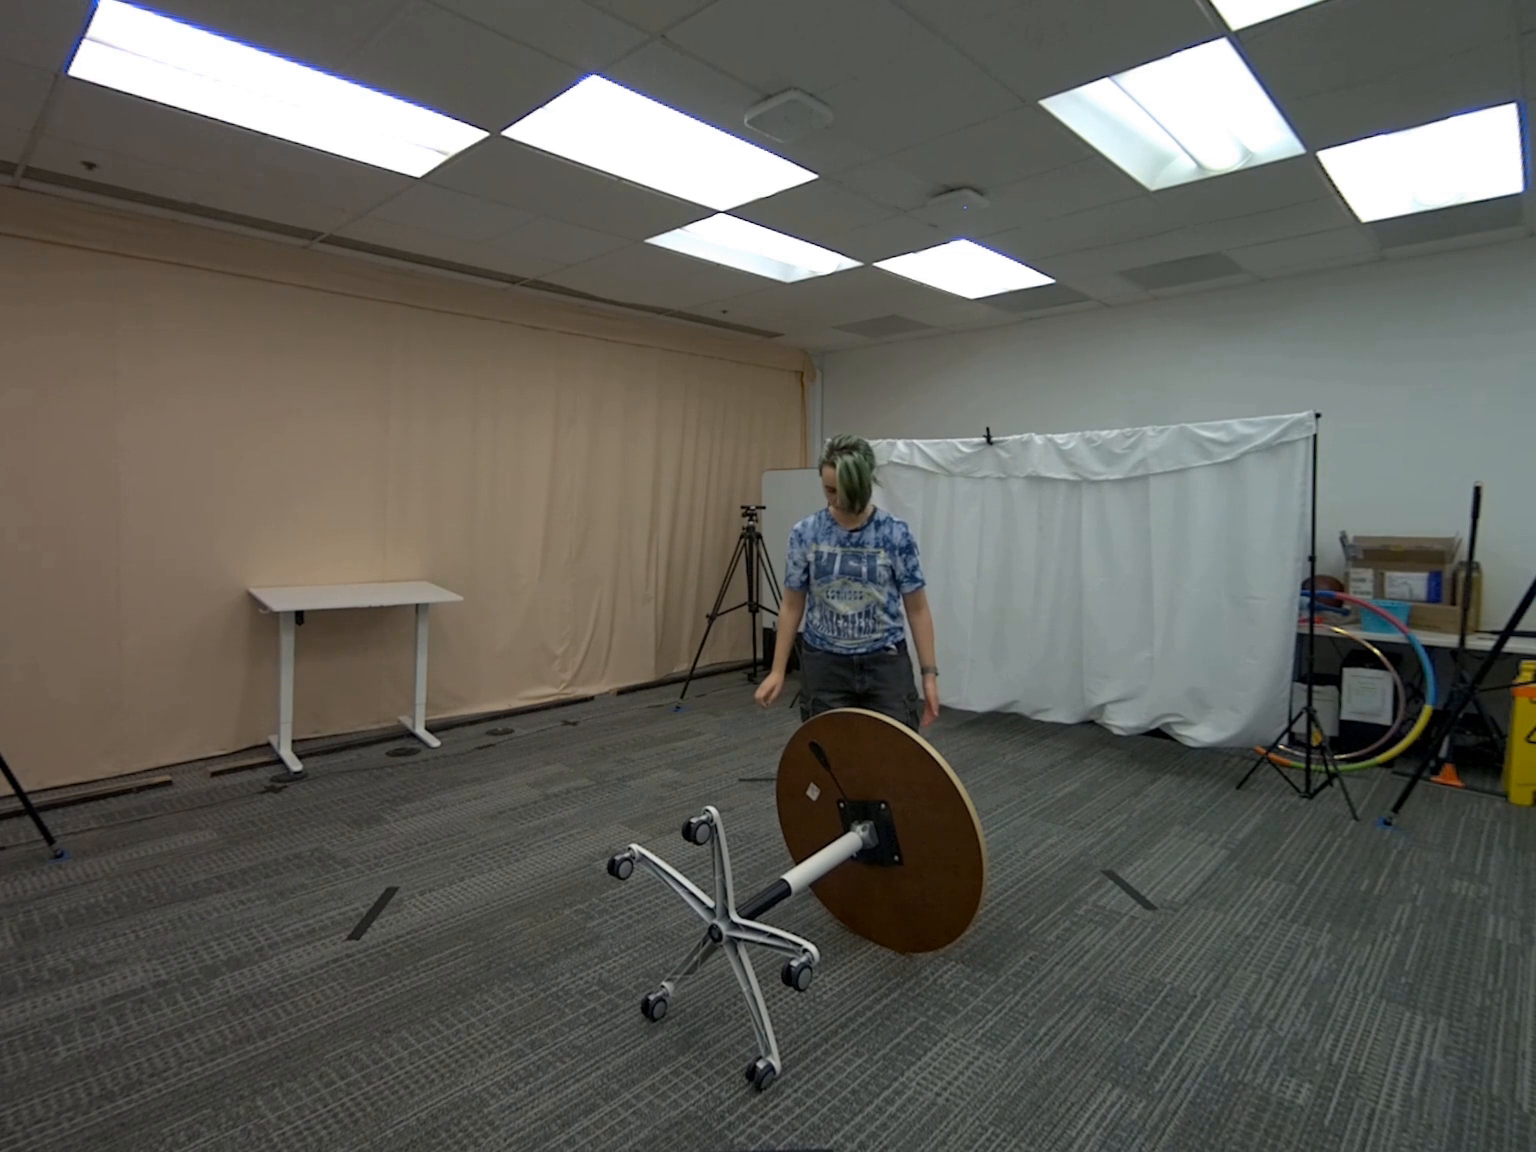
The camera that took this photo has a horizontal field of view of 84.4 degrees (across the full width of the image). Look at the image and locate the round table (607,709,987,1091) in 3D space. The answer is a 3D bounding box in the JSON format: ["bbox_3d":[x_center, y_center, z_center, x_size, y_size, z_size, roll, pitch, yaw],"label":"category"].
[{"bbox_3d":[0.073,0.858,2.362,0.789,0.759,0.773,4,12,43],"label":"round table"}]
